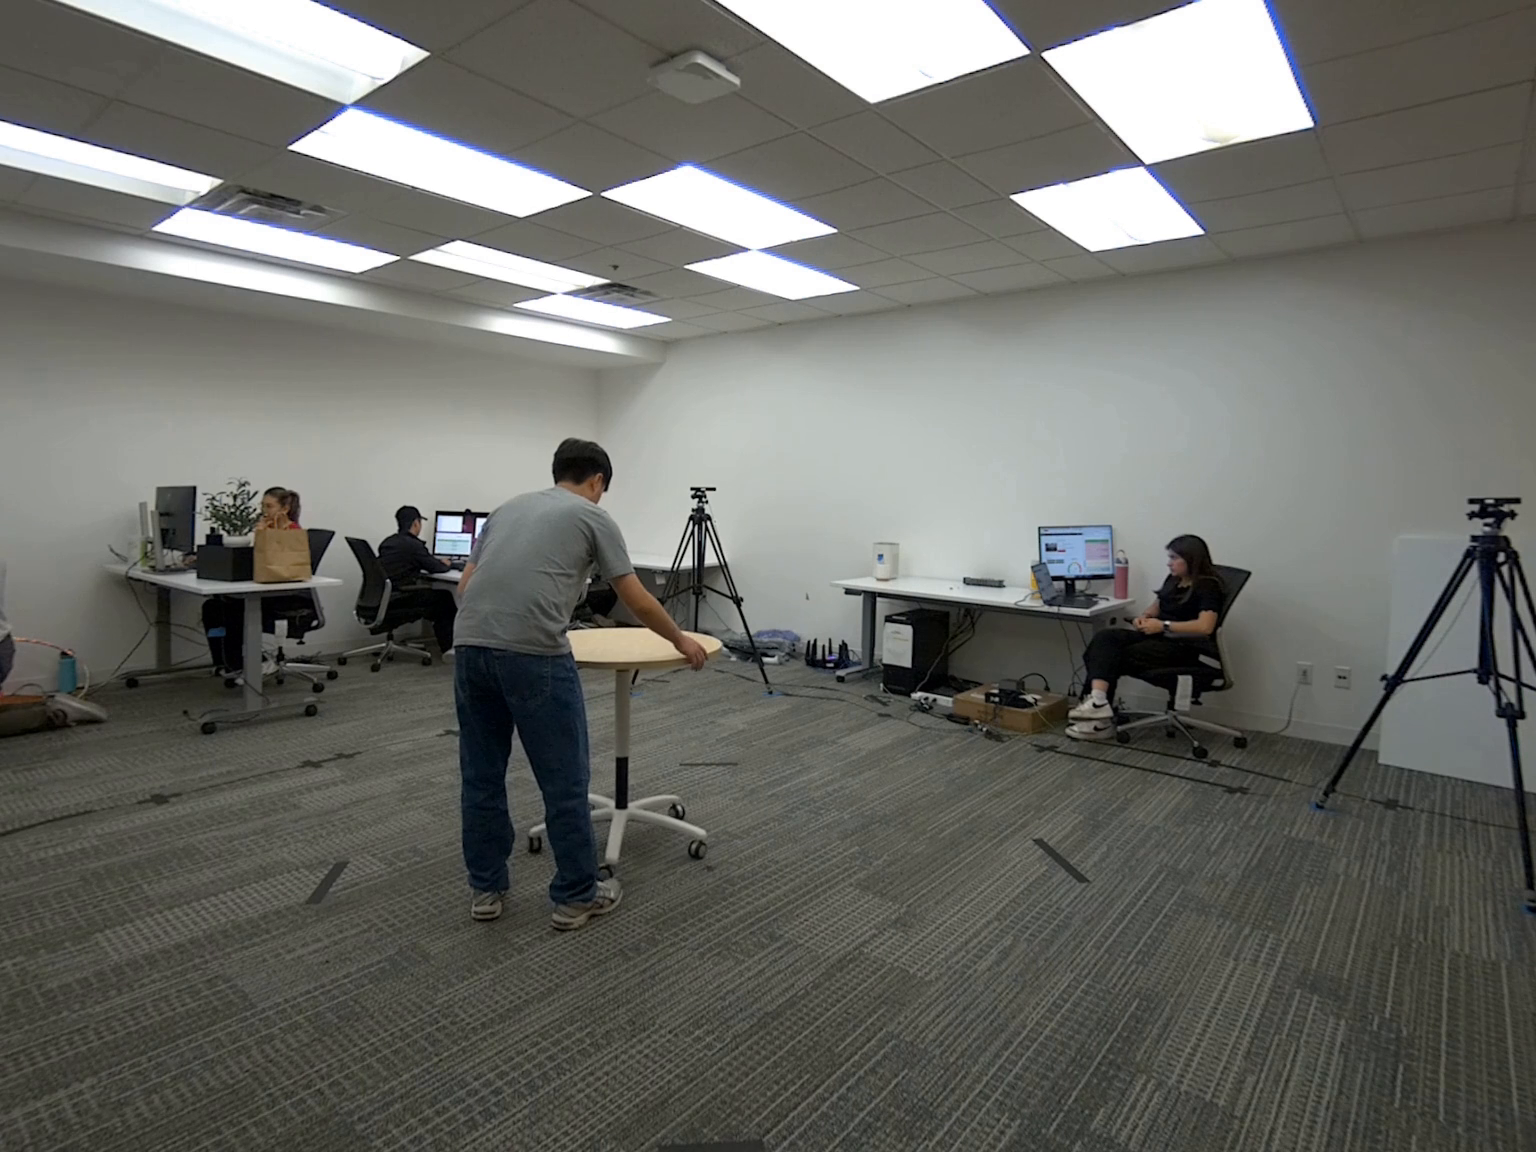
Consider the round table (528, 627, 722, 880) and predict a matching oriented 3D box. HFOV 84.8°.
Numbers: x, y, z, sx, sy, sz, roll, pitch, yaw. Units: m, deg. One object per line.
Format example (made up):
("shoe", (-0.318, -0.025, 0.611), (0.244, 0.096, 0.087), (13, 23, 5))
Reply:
("round table", (-0.574, 0.650, 3.307), (0.763, 0.792, 0.767), (1, 4, -2))
